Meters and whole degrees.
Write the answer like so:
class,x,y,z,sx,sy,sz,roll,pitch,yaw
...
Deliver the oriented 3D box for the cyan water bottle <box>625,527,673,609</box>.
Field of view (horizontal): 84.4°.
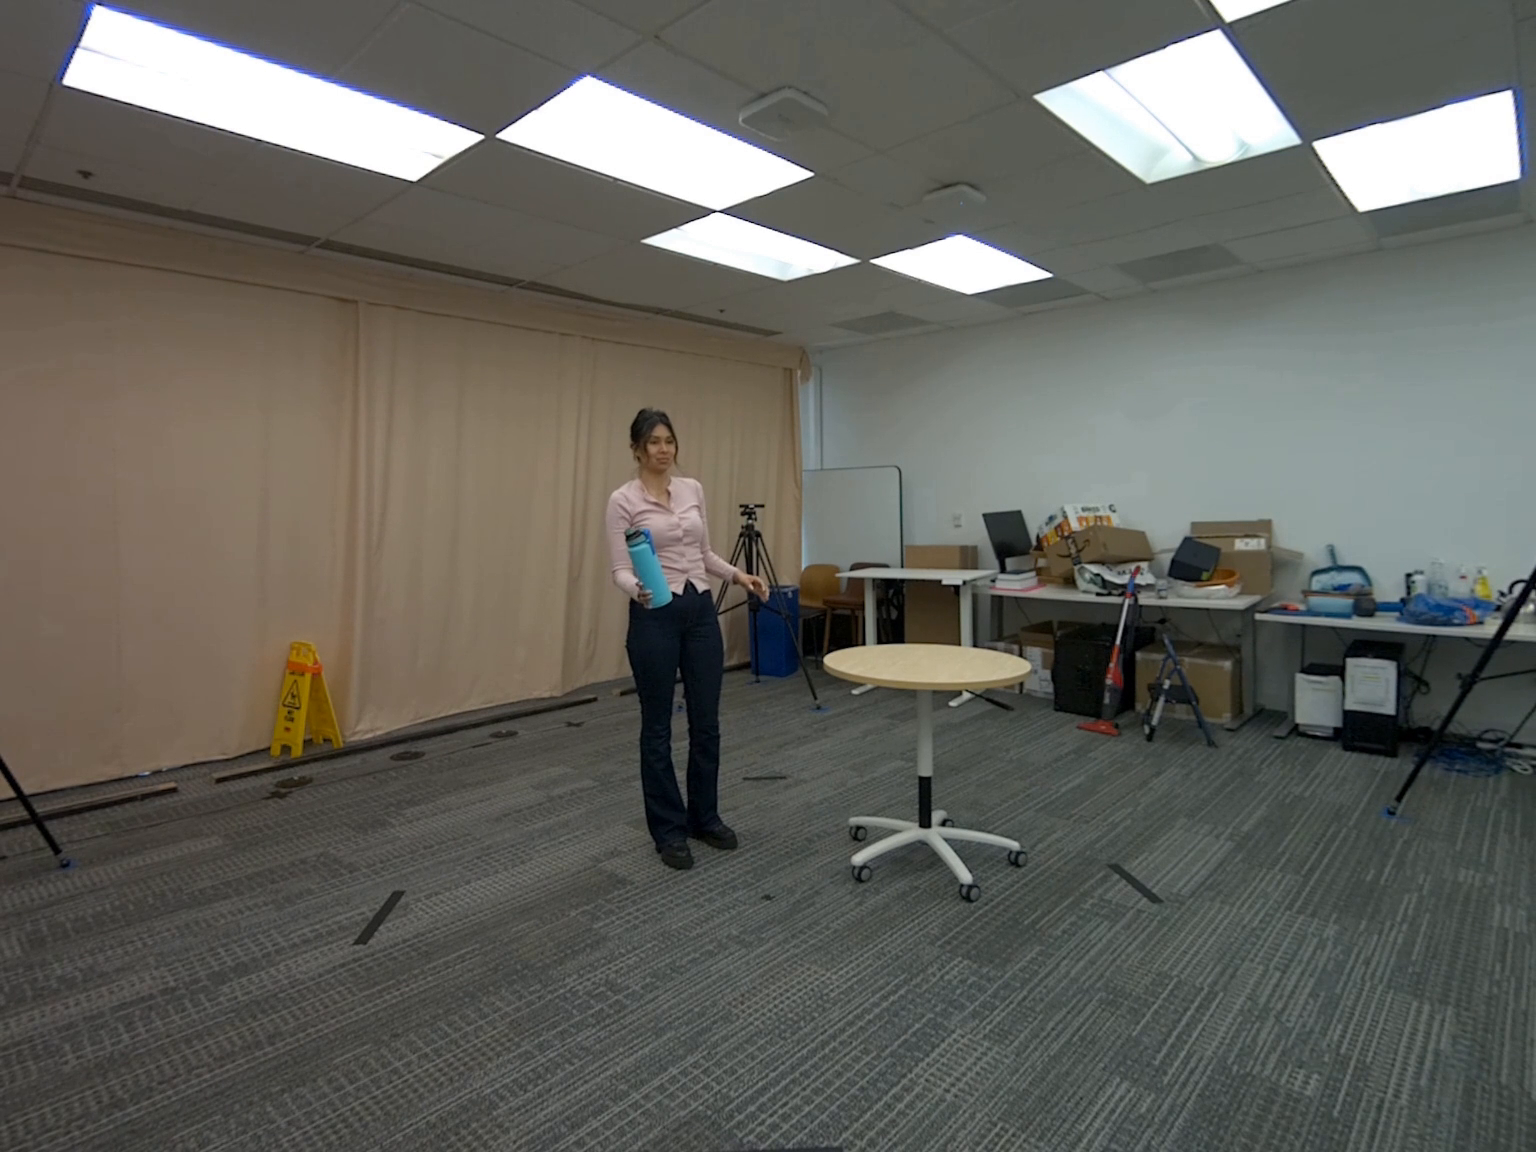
class,x,y,z,sx,sy,sz,roll,pitch,yaw
cyan water bottle,-0.397,-0.040,2.881,0.092,0.279,0.093,-15,16,3
